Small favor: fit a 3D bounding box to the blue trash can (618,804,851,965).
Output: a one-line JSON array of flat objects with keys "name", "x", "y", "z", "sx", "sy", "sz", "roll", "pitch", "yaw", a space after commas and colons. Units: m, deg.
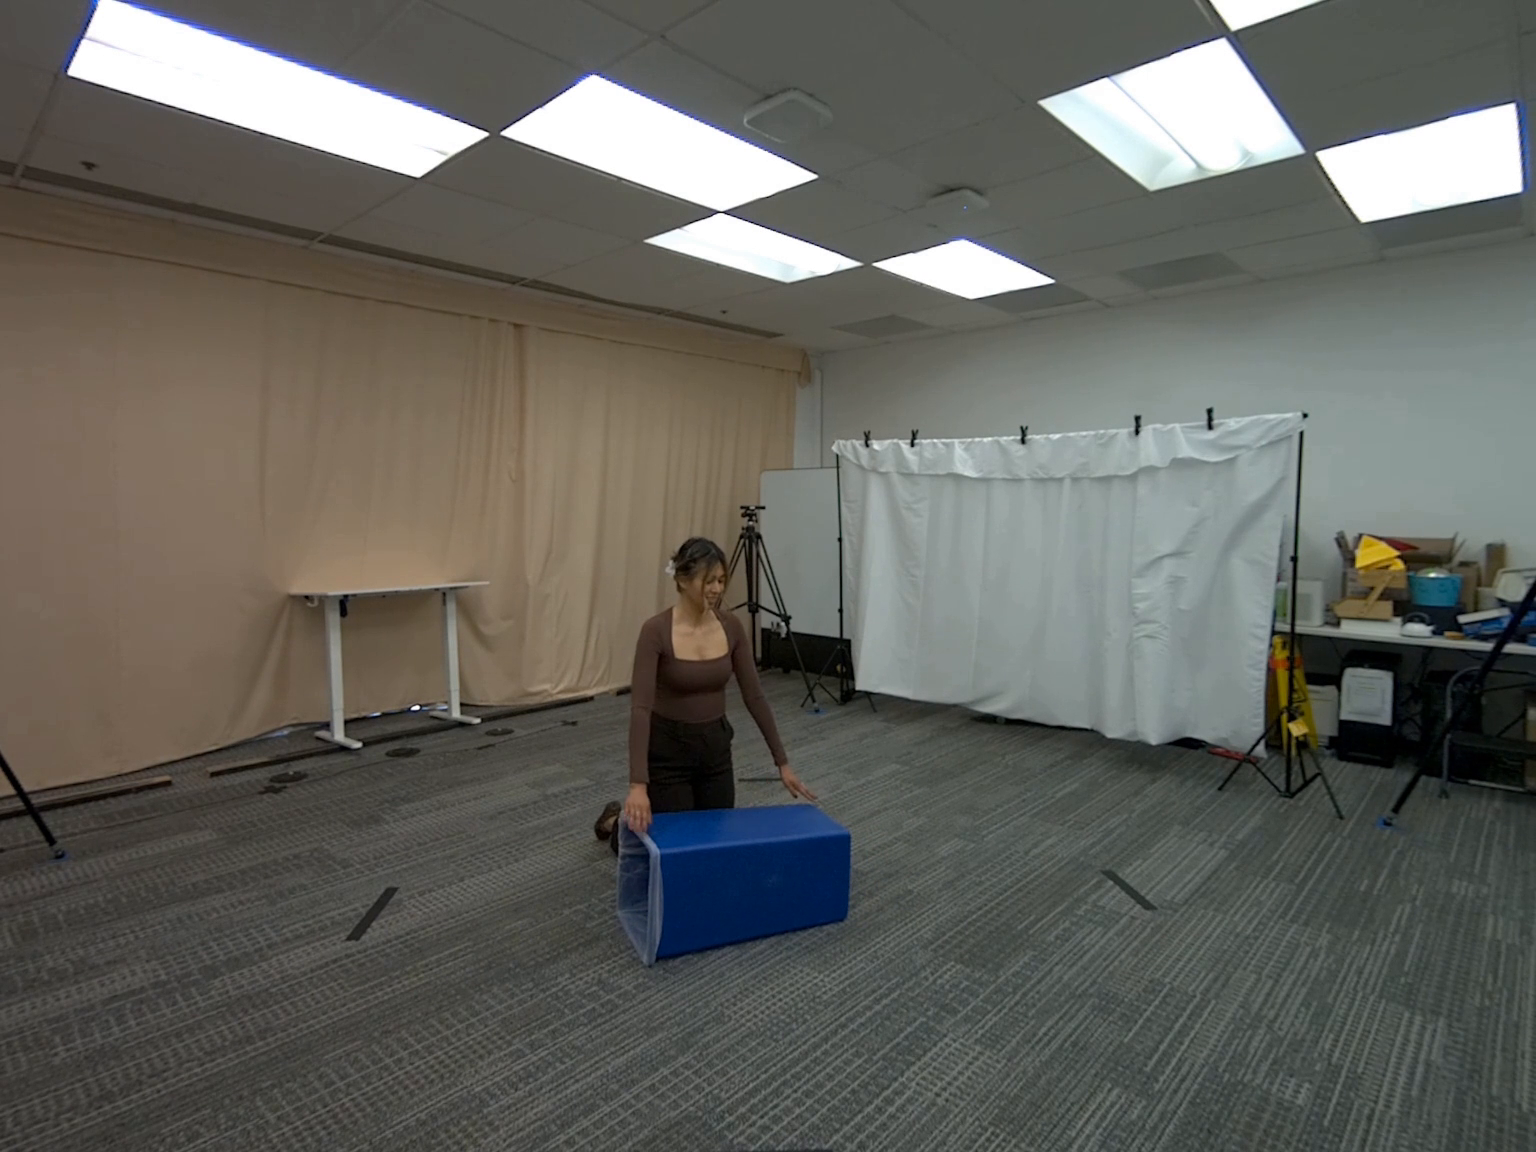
[{"name": "blue trash can", "x": -0.107, "y": 0.984, "z": 2.815, "sx": 0.698, "sy": 0.377, "sz": 0.383, "roll": 0, "pitch": 3, "yaw": -22}]
